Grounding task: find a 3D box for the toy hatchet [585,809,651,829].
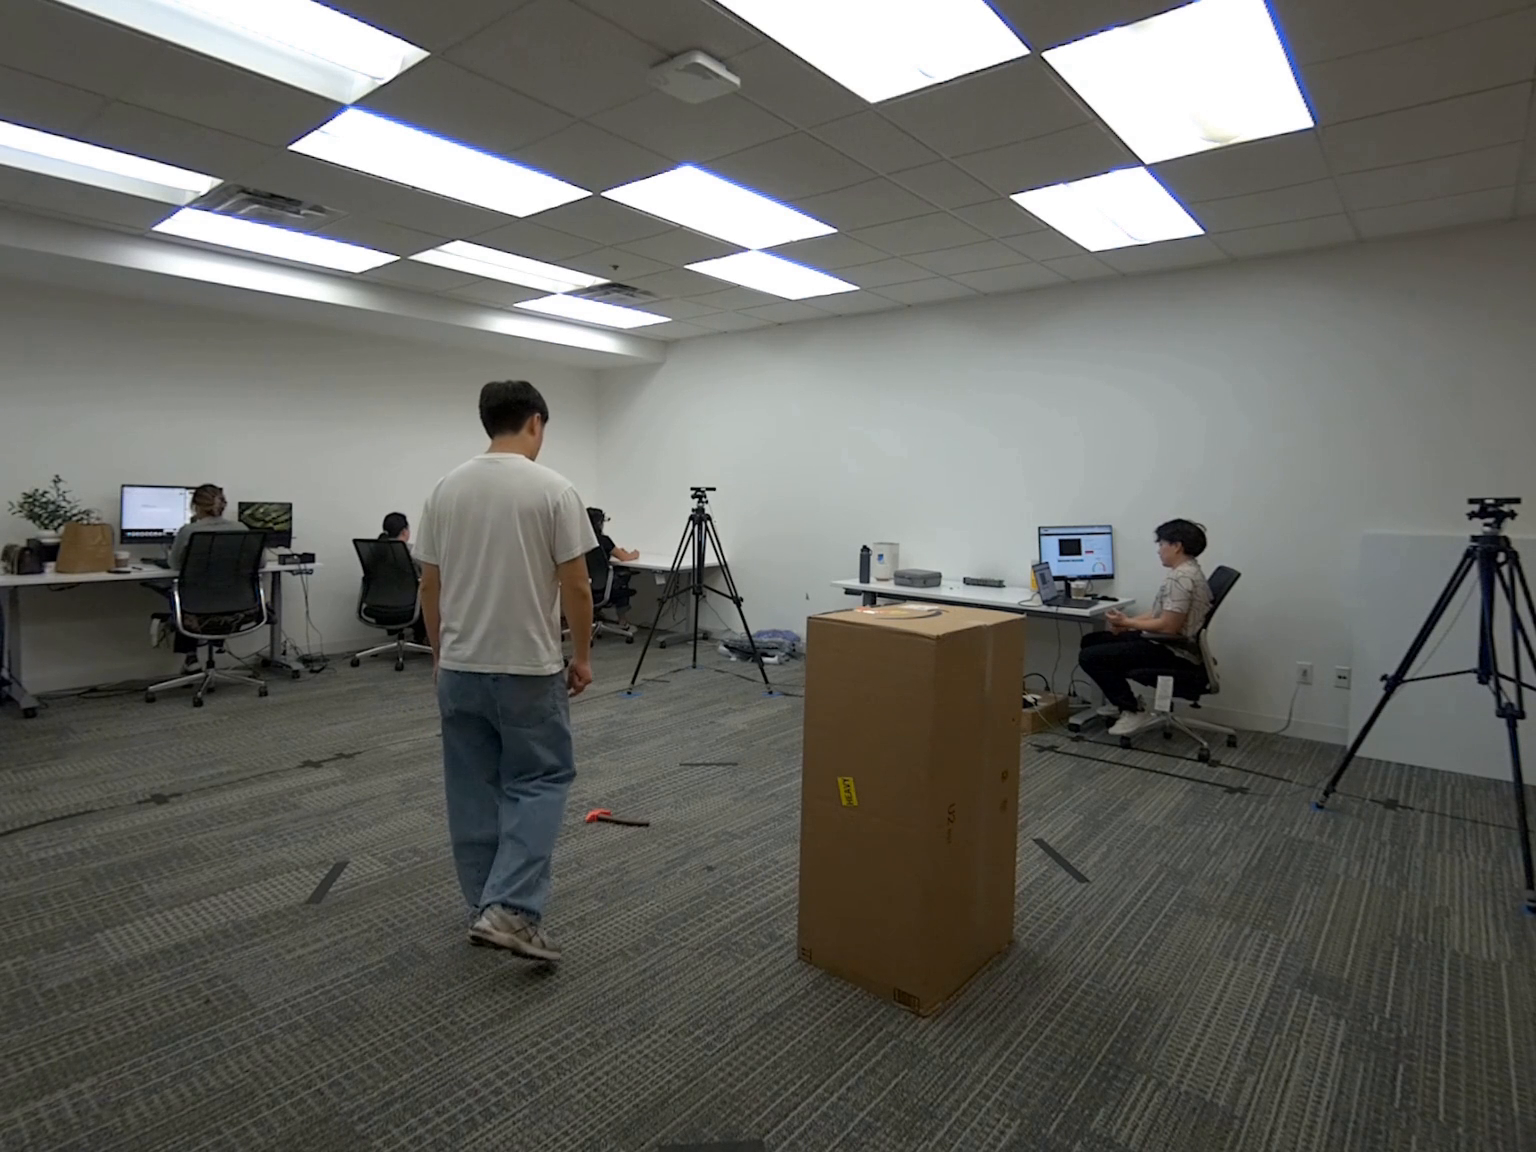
[{"bbox_3d":[-0.633,1.004,3.551,0.271,0.029,0.131,3,4,3],"label":"toy hatchet"}]
